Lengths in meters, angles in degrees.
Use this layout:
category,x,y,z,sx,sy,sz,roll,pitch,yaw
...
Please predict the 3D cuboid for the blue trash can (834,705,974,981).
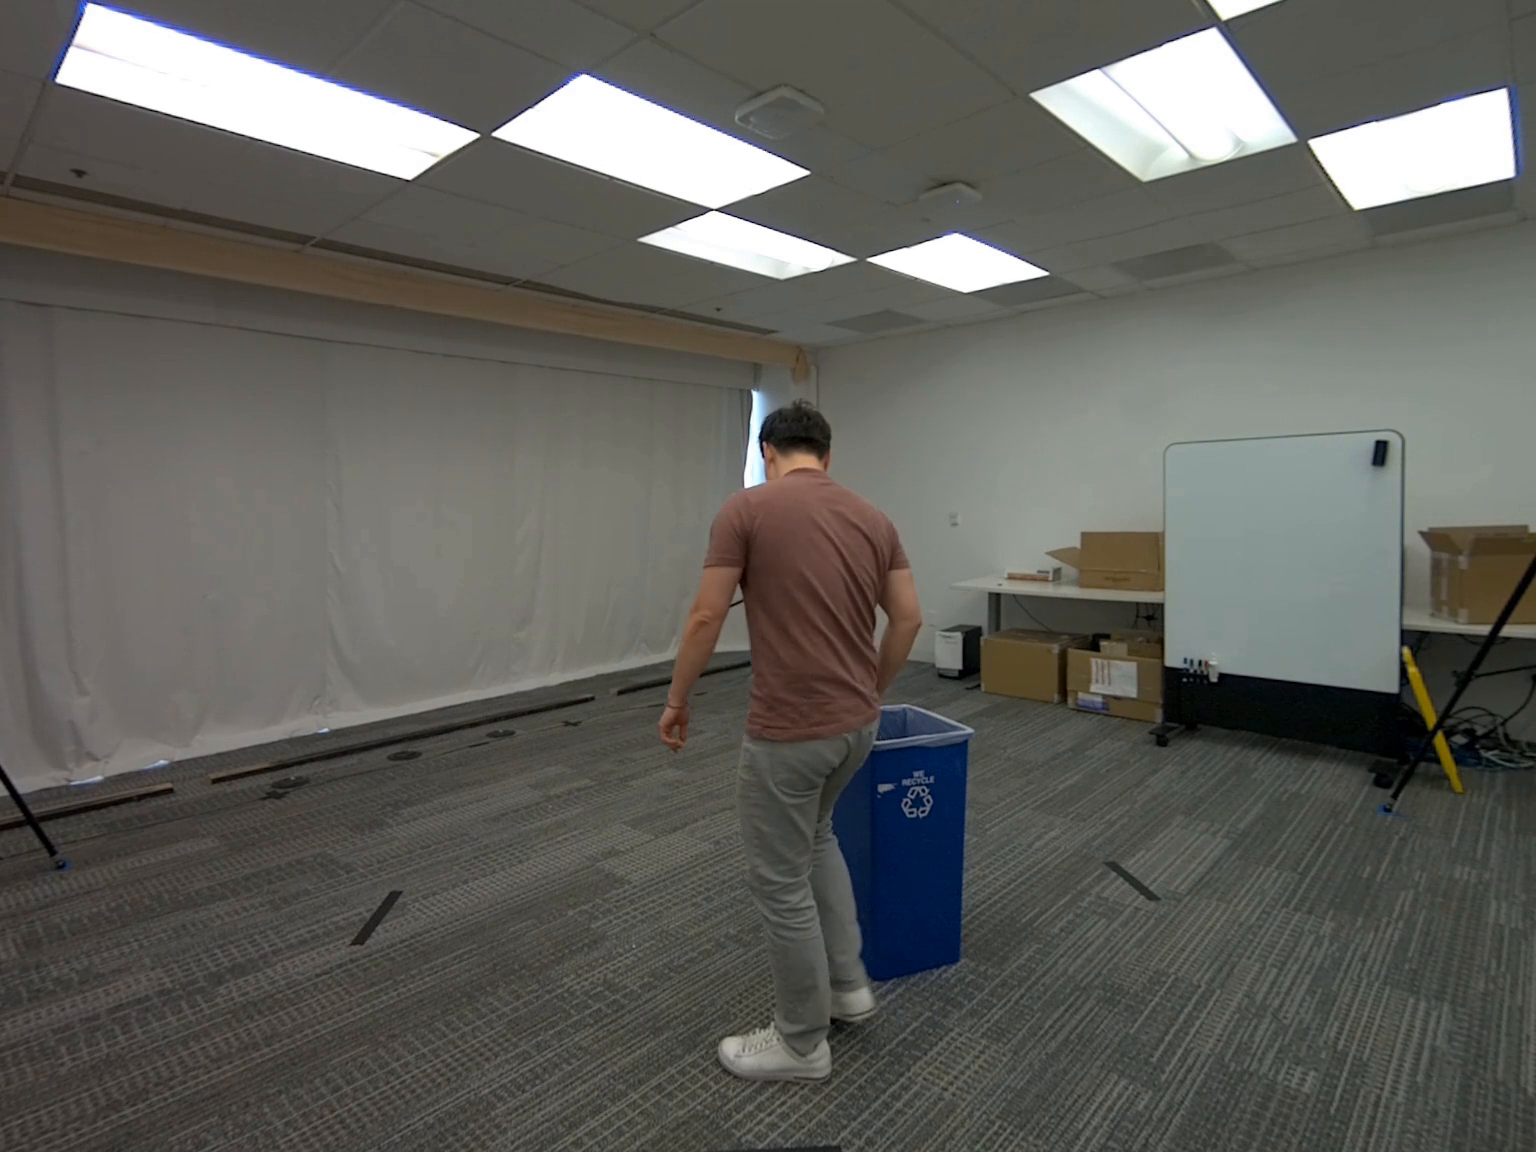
category,x,y,z,sx,sy,sz,roll,pitch,yaw
blue trash can,0.395,0.803,2.611,0.366,0.712,0.387,-2,4,-23
